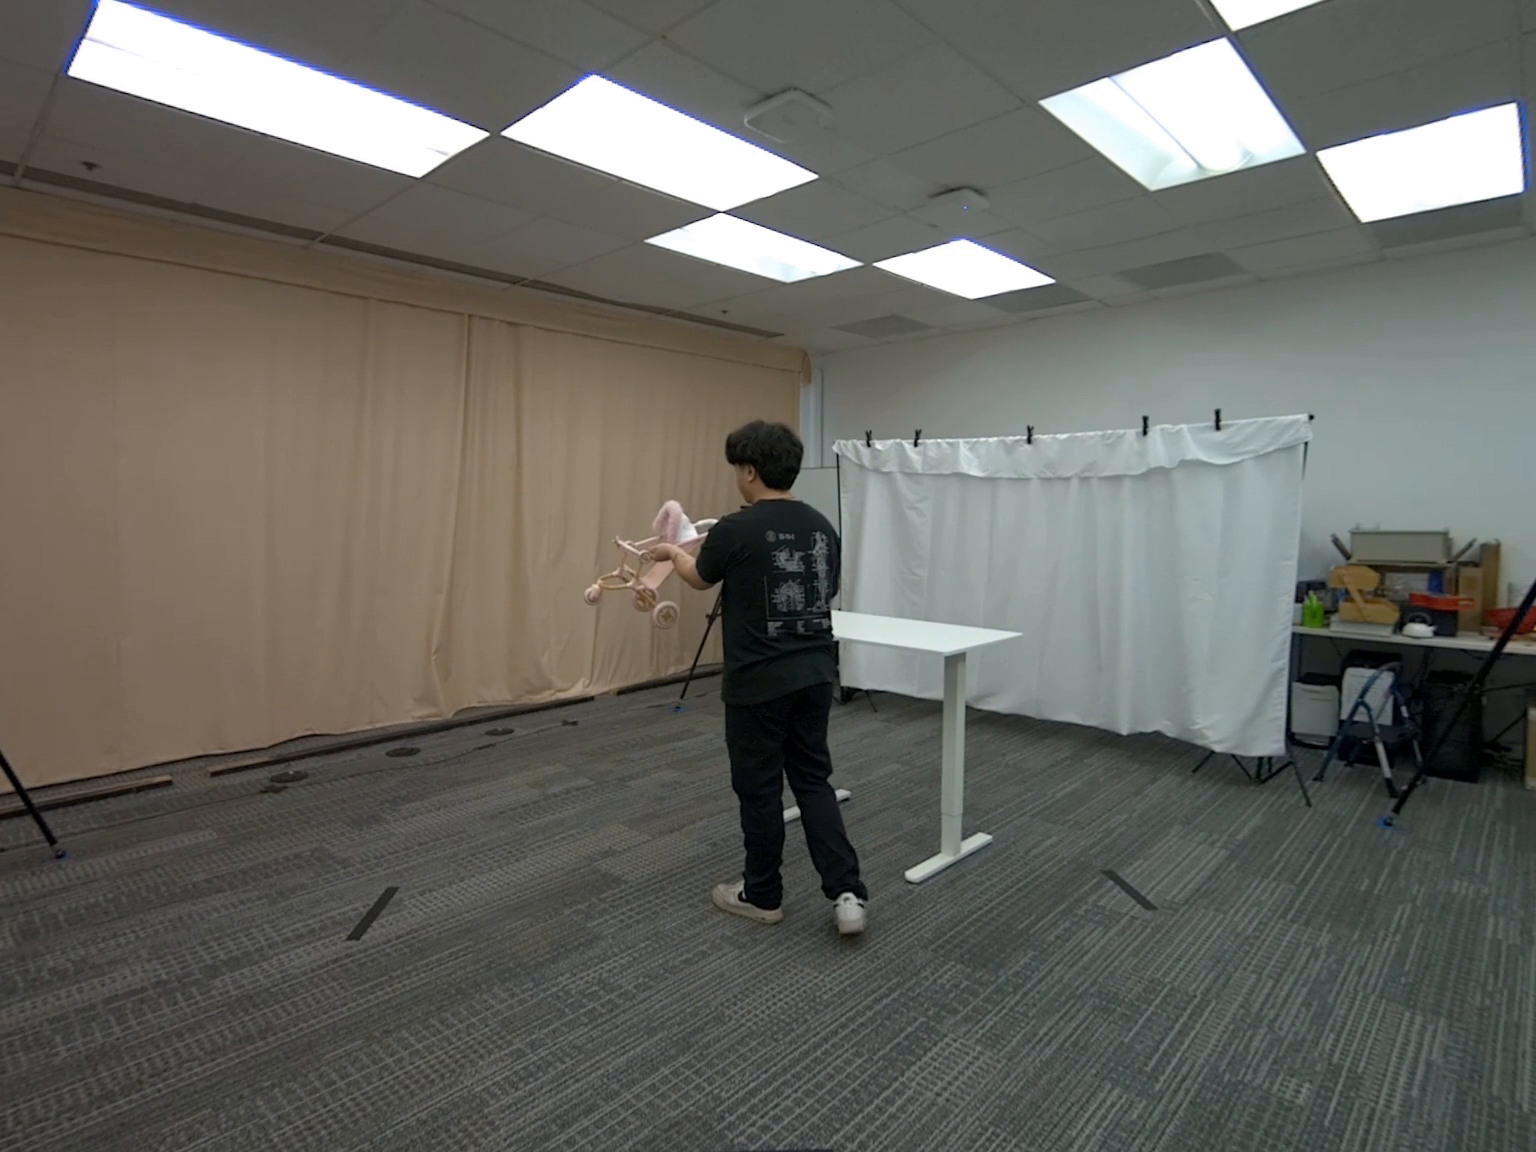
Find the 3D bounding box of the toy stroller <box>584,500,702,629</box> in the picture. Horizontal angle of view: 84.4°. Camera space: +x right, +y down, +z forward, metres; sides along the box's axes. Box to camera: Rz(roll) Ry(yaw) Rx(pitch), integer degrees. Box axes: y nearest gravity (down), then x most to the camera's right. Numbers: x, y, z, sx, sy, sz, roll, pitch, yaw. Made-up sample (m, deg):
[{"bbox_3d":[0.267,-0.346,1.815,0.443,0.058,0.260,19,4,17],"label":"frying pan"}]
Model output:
[{"bbox_3d":[-0.441,-0.060,3.249,0.333,0.535,0.288,32,0,-22],"label":"toy stroller"}]
